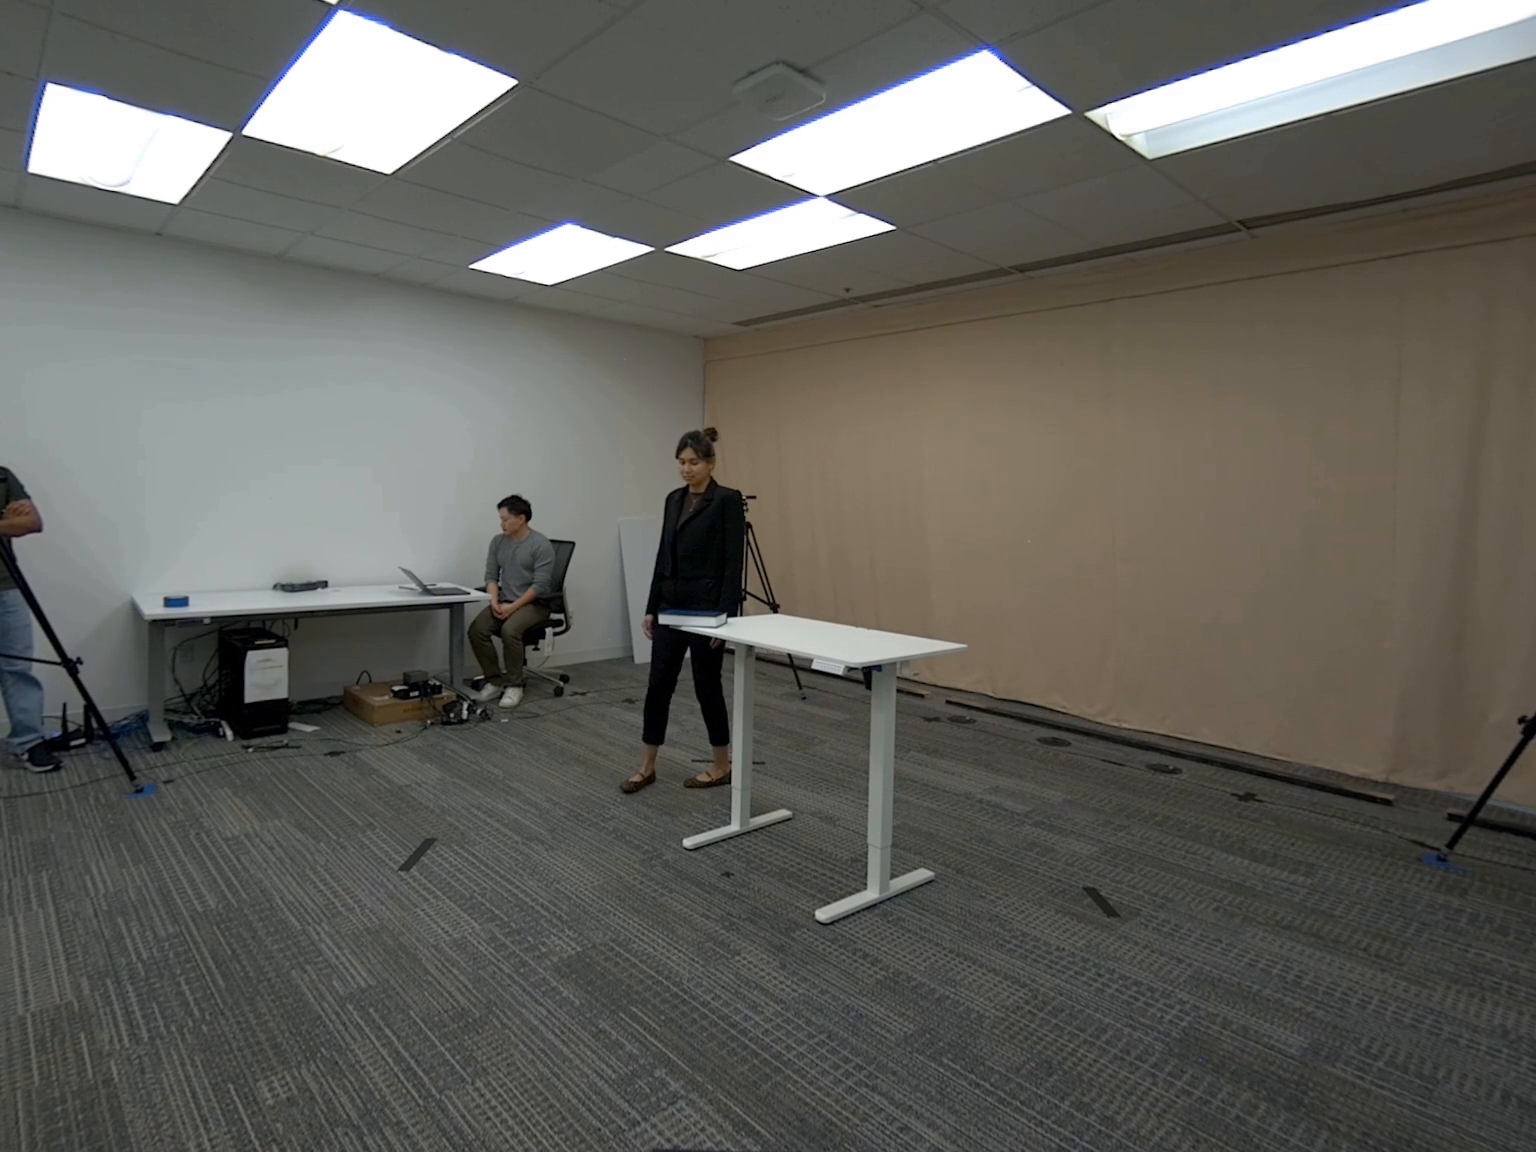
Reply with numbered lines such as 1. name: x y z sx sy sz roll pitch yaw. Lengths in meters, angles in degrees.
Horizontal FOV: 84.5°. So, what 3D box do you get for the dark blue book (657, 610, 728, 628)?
1. dark blue book: -0.310 0.167 3.366 0.248 0.045 0.162 3 4 14
